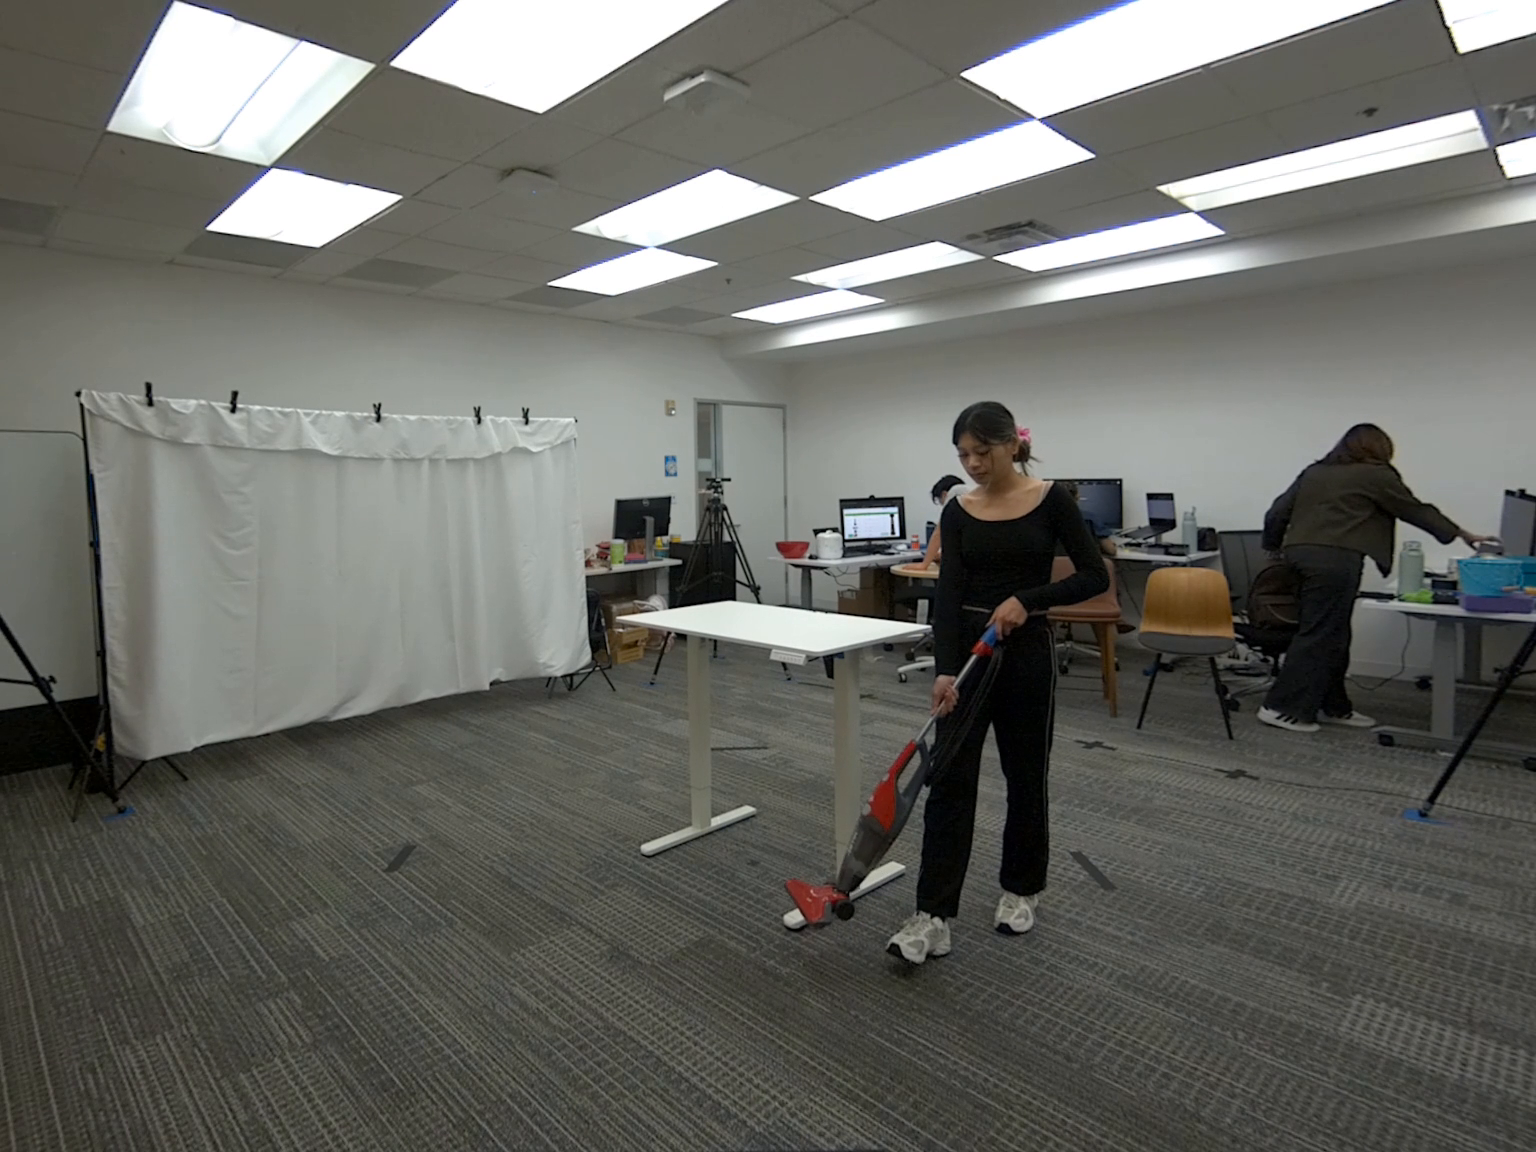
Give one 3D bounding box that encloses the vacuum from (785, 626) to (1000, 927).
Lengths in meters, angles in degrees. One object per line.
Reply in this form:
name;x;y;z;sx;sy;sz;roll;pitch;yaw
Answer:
vacuum;0.449;0.513;2.400;0.140;1.050;0.258;40;-7;-20
